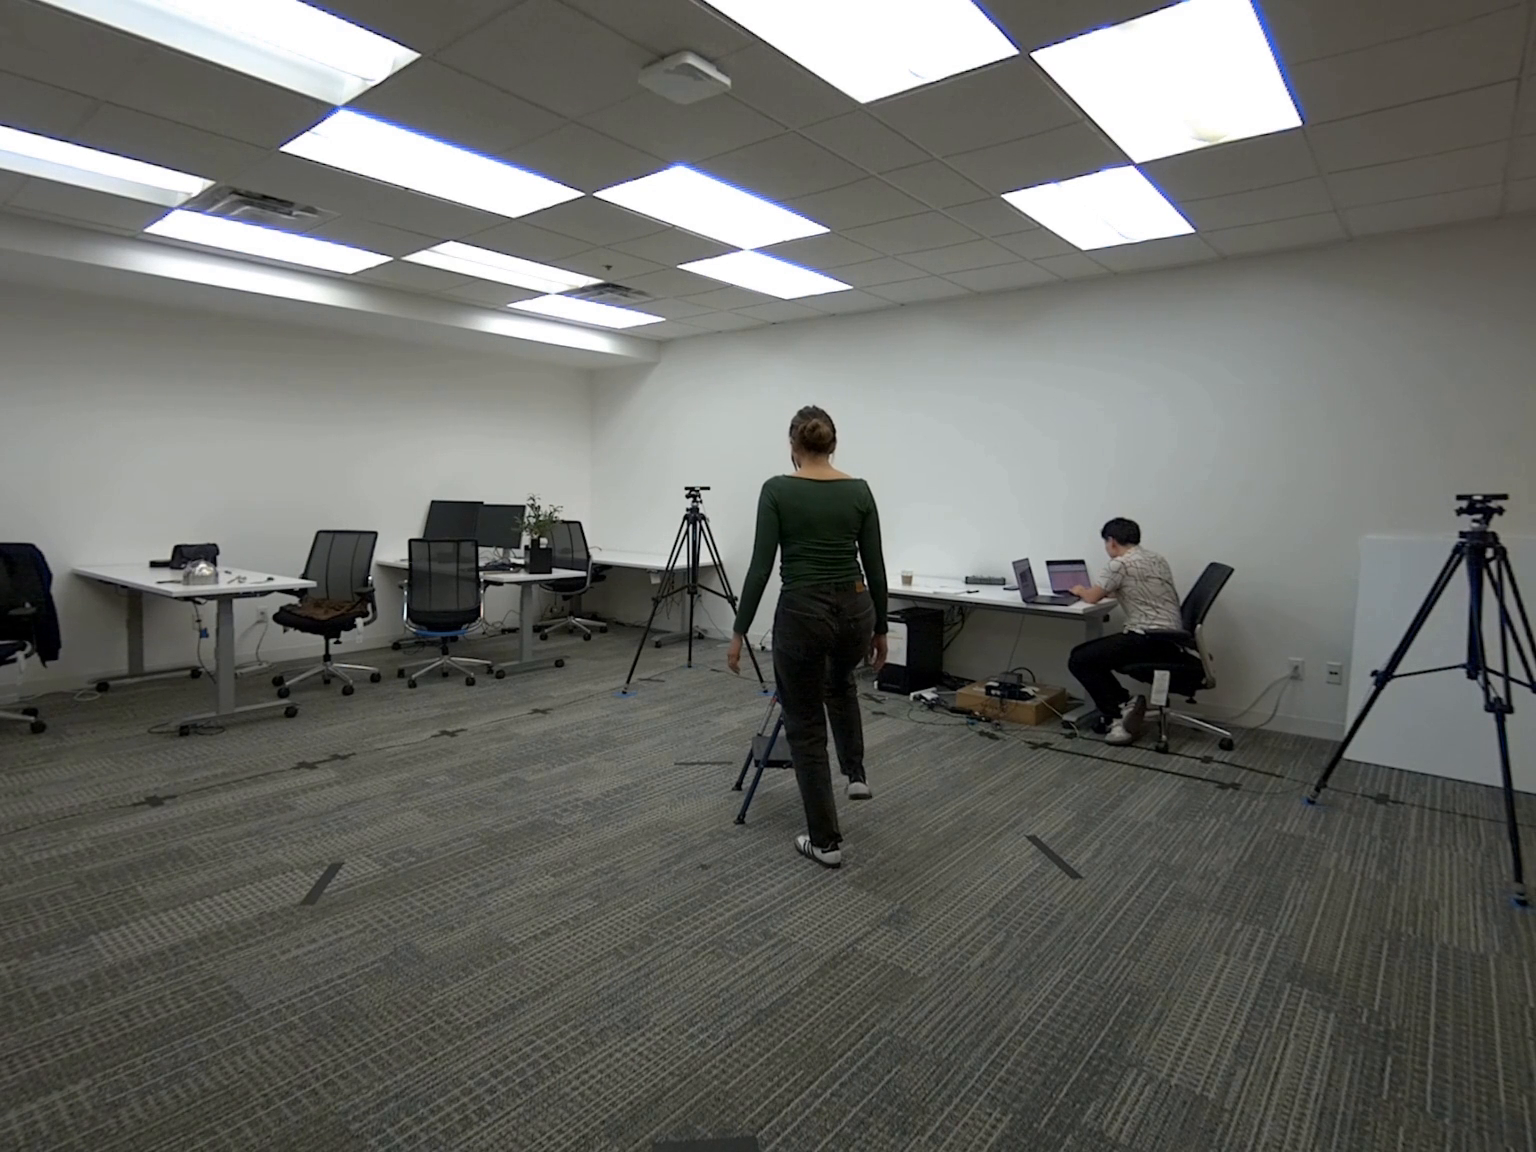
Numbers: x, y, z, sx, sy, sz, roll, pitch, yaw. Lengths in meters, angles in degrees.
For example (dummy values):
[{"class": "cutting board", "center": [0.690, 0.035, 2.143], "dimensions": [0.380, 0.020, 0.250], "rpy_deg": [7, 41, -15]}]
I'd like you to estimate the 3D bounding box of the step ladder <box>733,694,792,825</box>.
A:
[{"class": "step ladder", "center": [0.018, 0.708, 3.722], "dimensions": [0.349, 0.604, 0.433], "rpy_deg": [0, 3, -2]}]
